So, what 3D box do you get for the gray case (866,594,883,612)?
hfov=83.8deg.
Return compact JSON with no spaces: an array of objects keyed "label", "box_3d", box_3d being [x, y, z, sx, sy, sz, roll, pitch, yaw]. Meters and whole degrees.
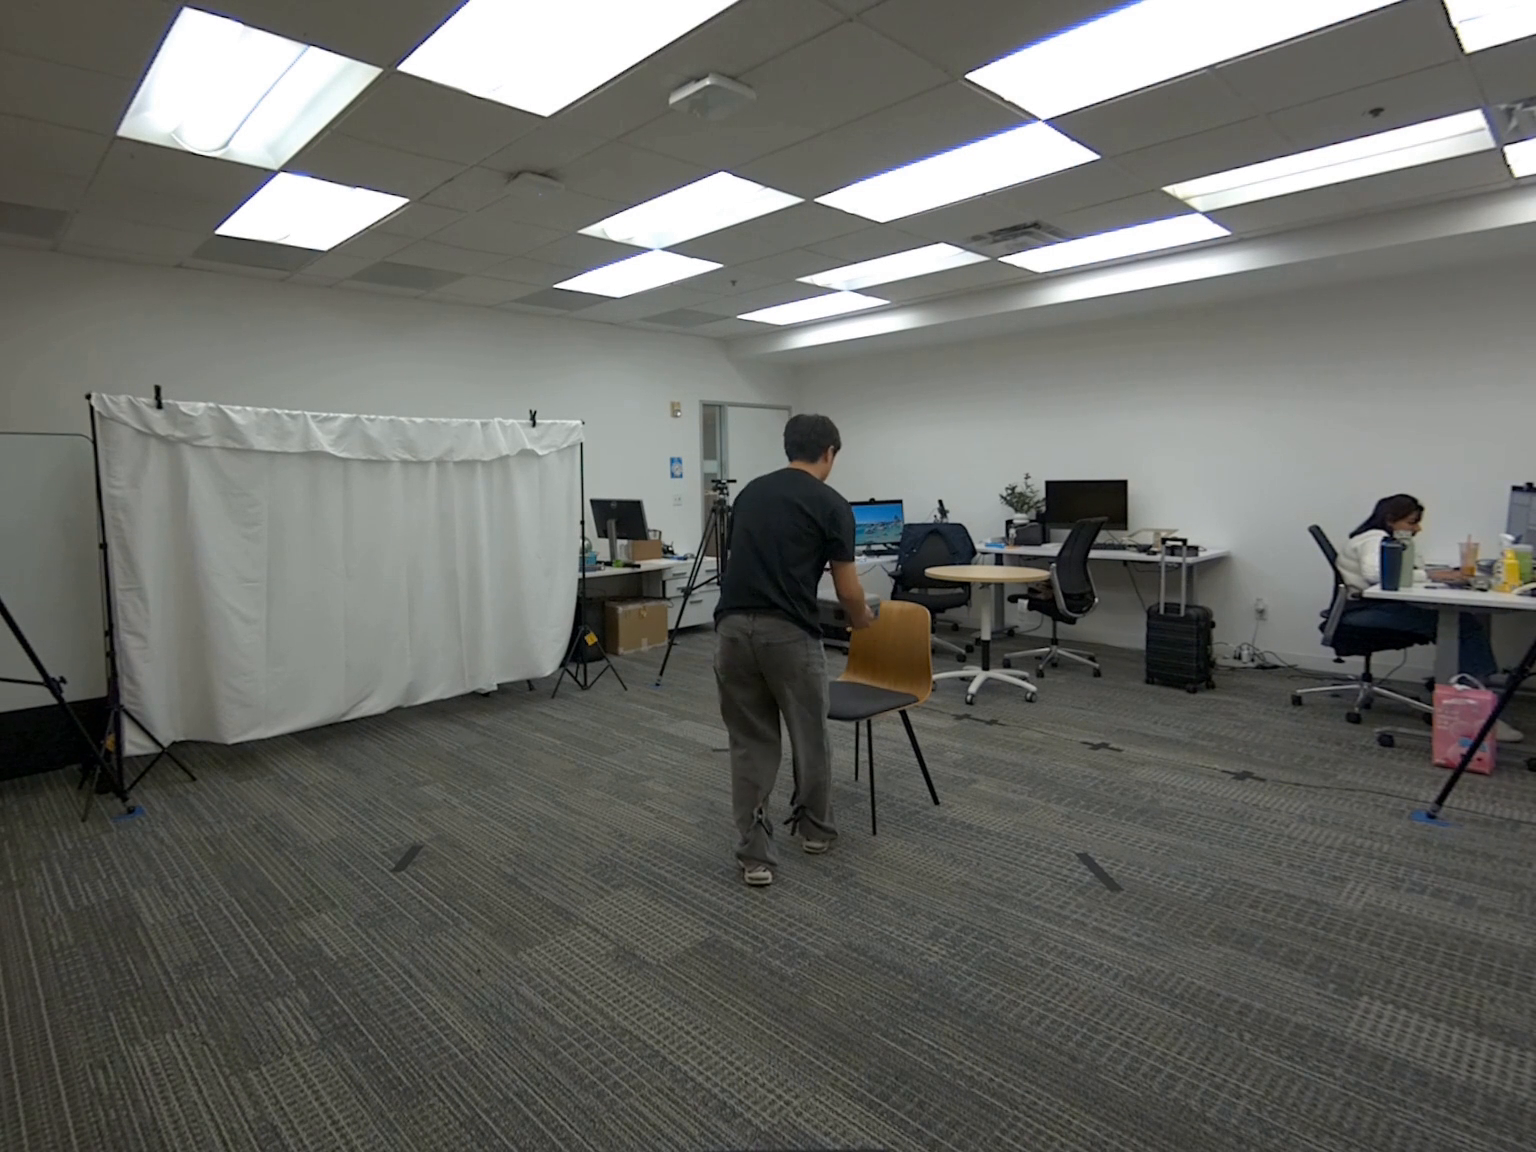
[{"label":"gray case","box_3d":[0.330,0.136,3.436,0.272,0.102,0.280,8,10,42]}]
